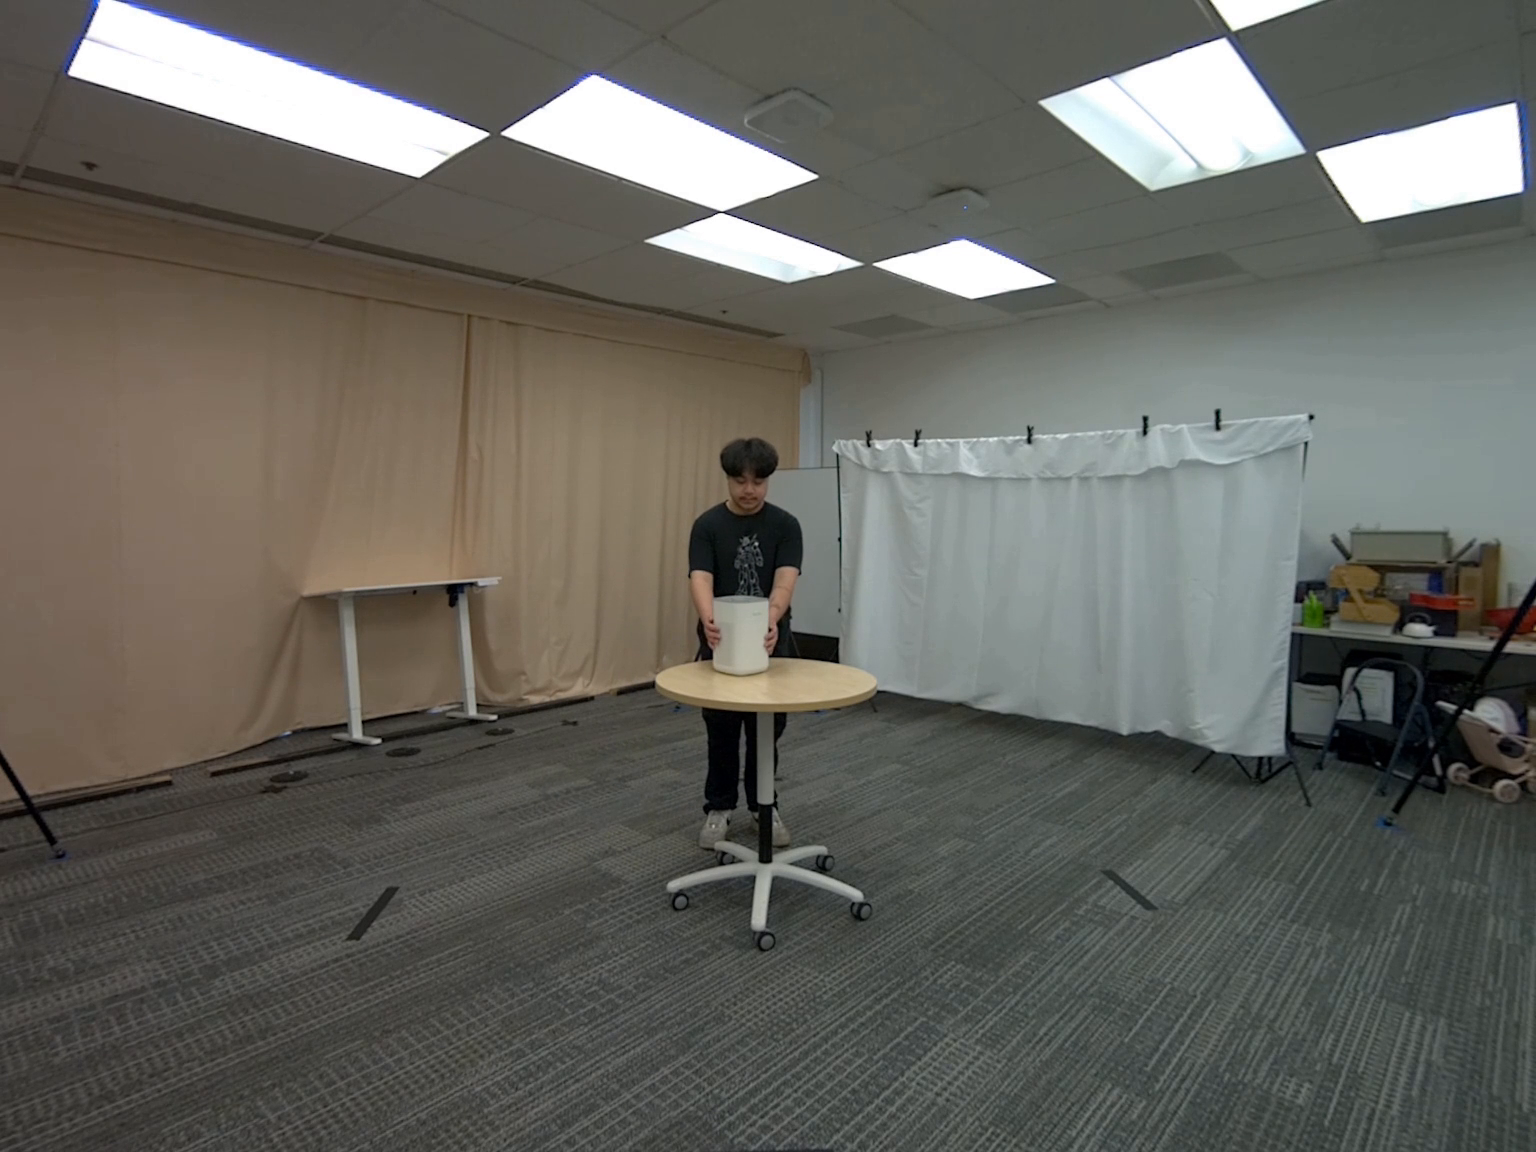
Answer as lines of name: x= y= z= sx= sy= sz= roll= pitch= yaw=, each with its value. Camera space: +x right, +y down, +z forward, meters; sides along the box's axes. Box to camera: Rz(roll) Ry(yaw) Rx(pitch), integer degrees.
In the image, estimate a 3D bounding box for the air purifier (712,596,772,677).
air purifier: x=-0.099 y=0.211 z=3.029 sx=0.166 sy=0.265 sz=0.177 roll=-4 pitch=5 yaw=-45
